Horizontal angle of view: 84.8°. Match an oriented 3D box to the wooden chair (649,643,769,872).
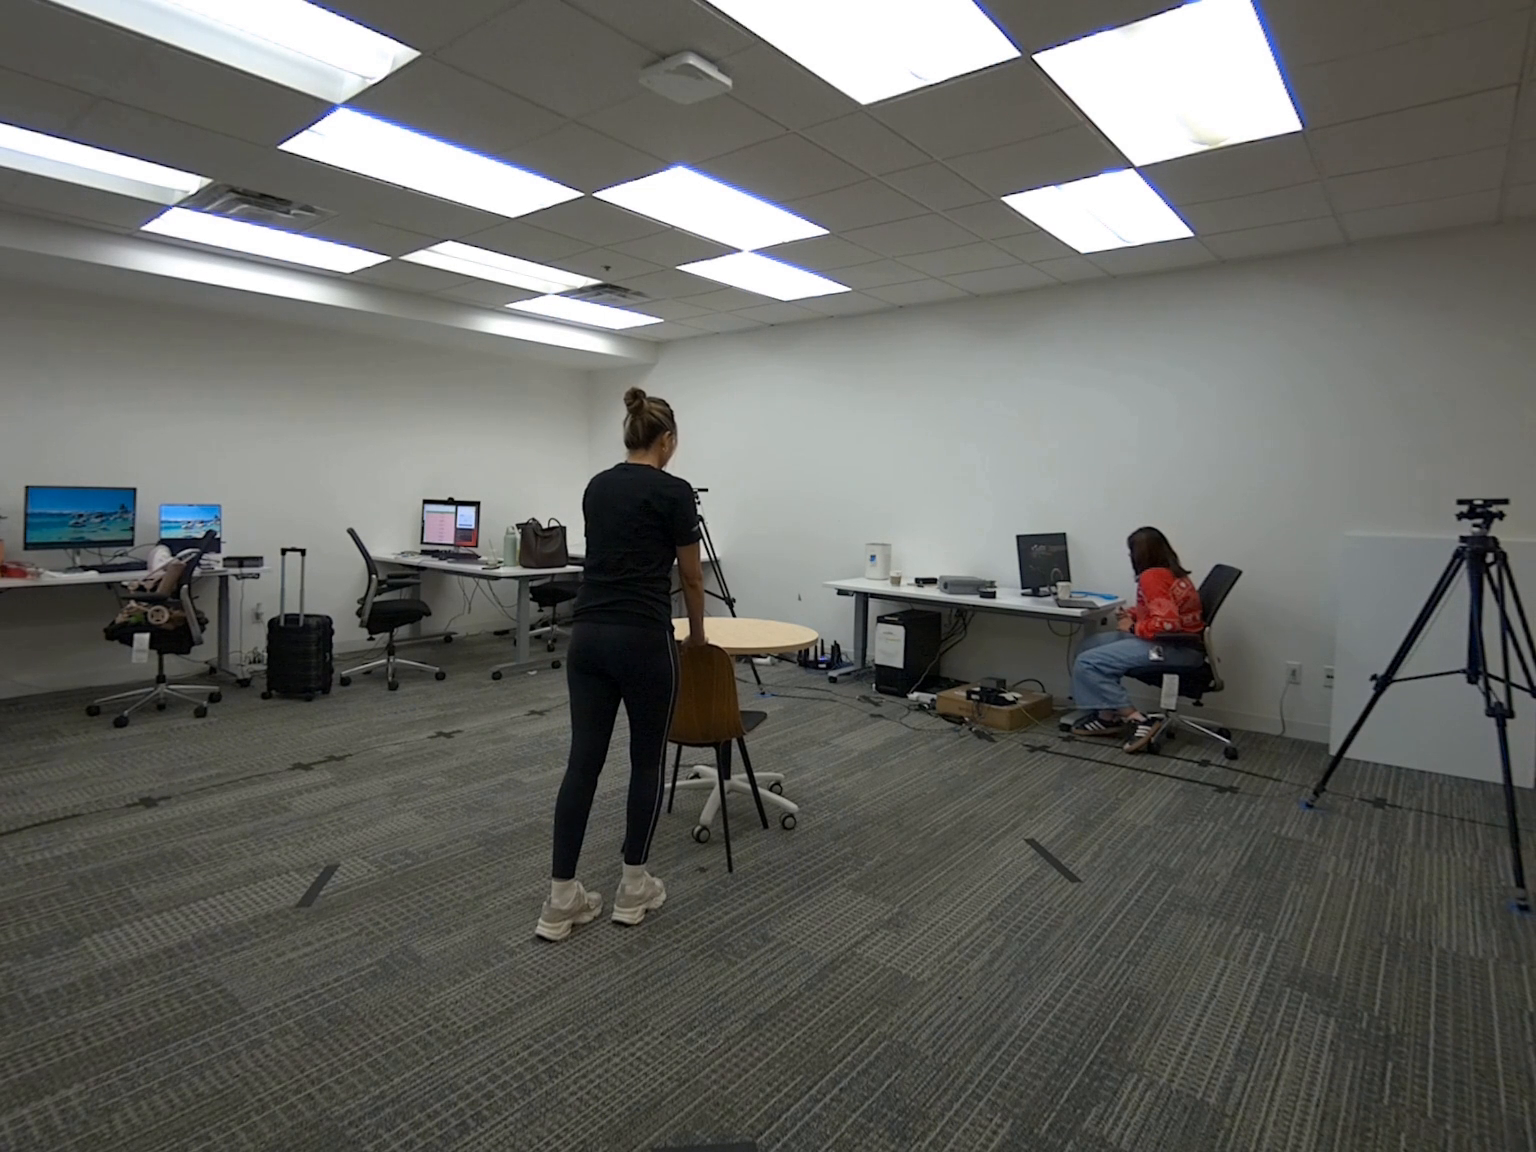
[{"bbox_3d":[-0.282,0.618,3.345,0.488,0.872,0.516,2,7,19],"label":"wooden chair"}]
